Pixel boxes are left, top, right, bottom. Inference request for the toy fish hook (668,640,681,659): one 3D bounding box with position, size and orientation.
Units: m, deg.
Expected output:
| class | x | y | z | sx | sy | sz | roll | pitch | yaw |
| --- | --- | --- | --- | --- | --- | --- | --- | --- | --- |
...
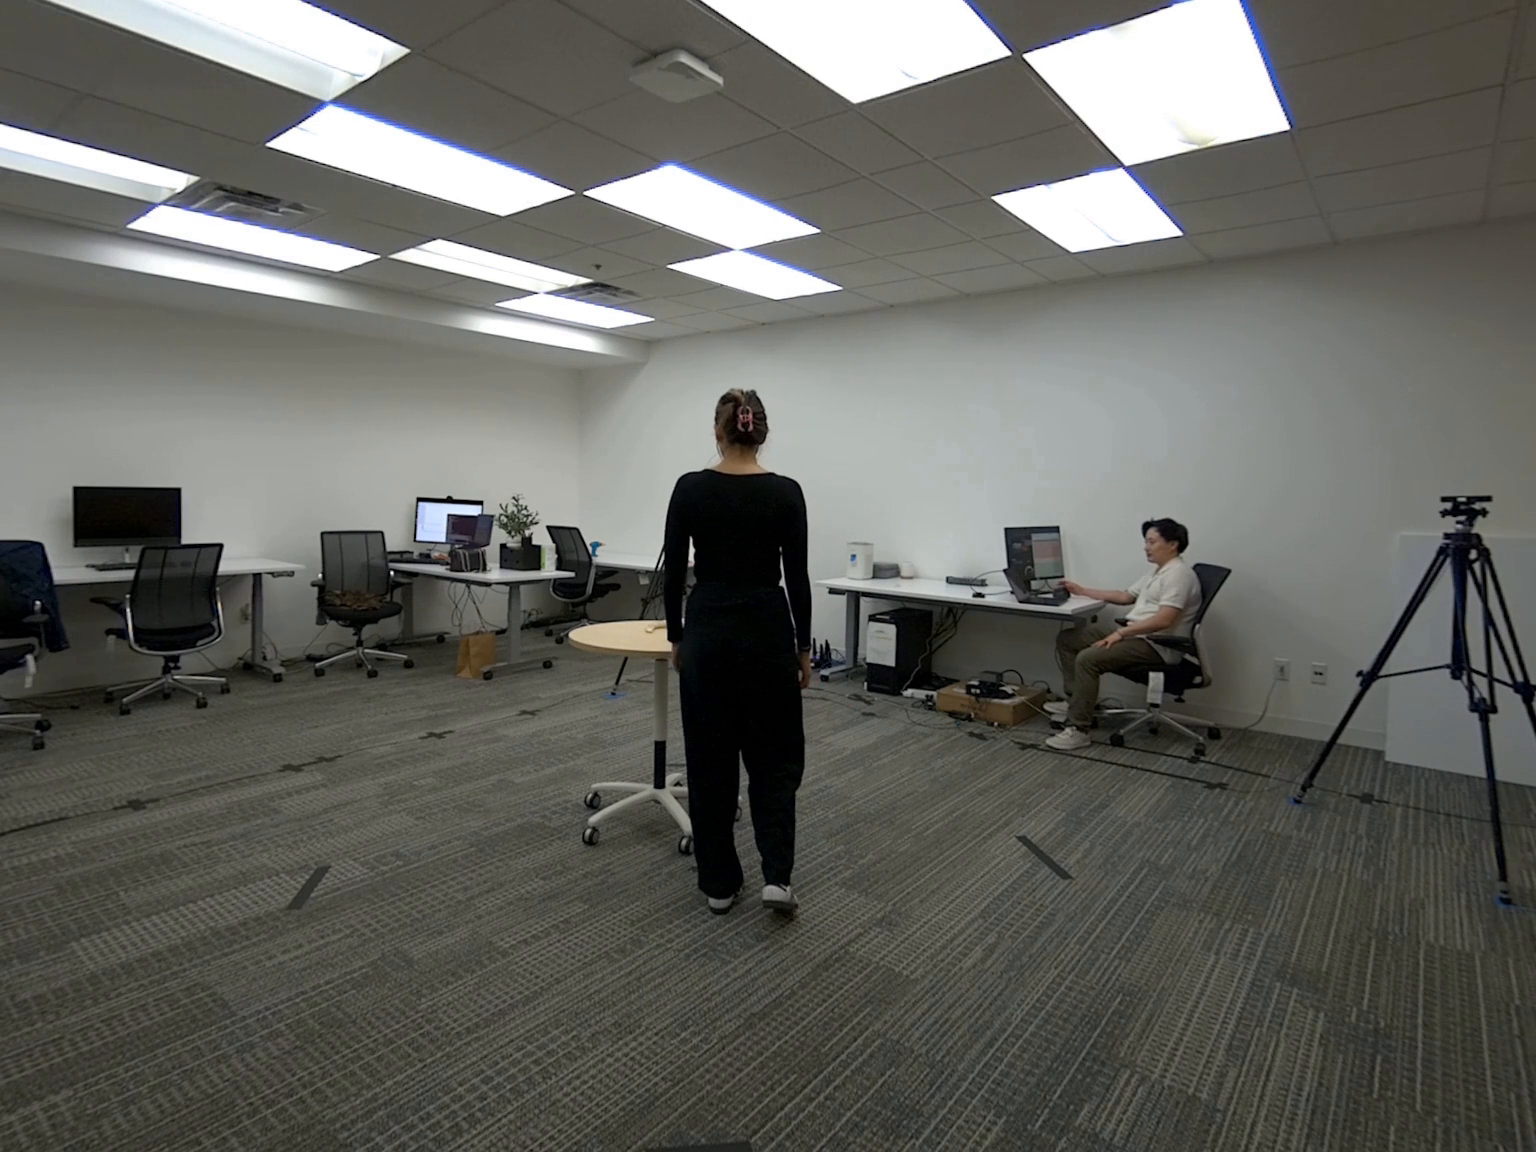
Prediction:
| class | x | y | z | sx | sy | sz | roll | pitch | yaw |
| --- | --- | --- | --- | --- | --- | --- | --- | --- | --- |
| toy fish hook | -0.409 | 0.229 | 3.491 | 0.224 | 0.048 | 0.510 | -6 | 5 | -5 |
